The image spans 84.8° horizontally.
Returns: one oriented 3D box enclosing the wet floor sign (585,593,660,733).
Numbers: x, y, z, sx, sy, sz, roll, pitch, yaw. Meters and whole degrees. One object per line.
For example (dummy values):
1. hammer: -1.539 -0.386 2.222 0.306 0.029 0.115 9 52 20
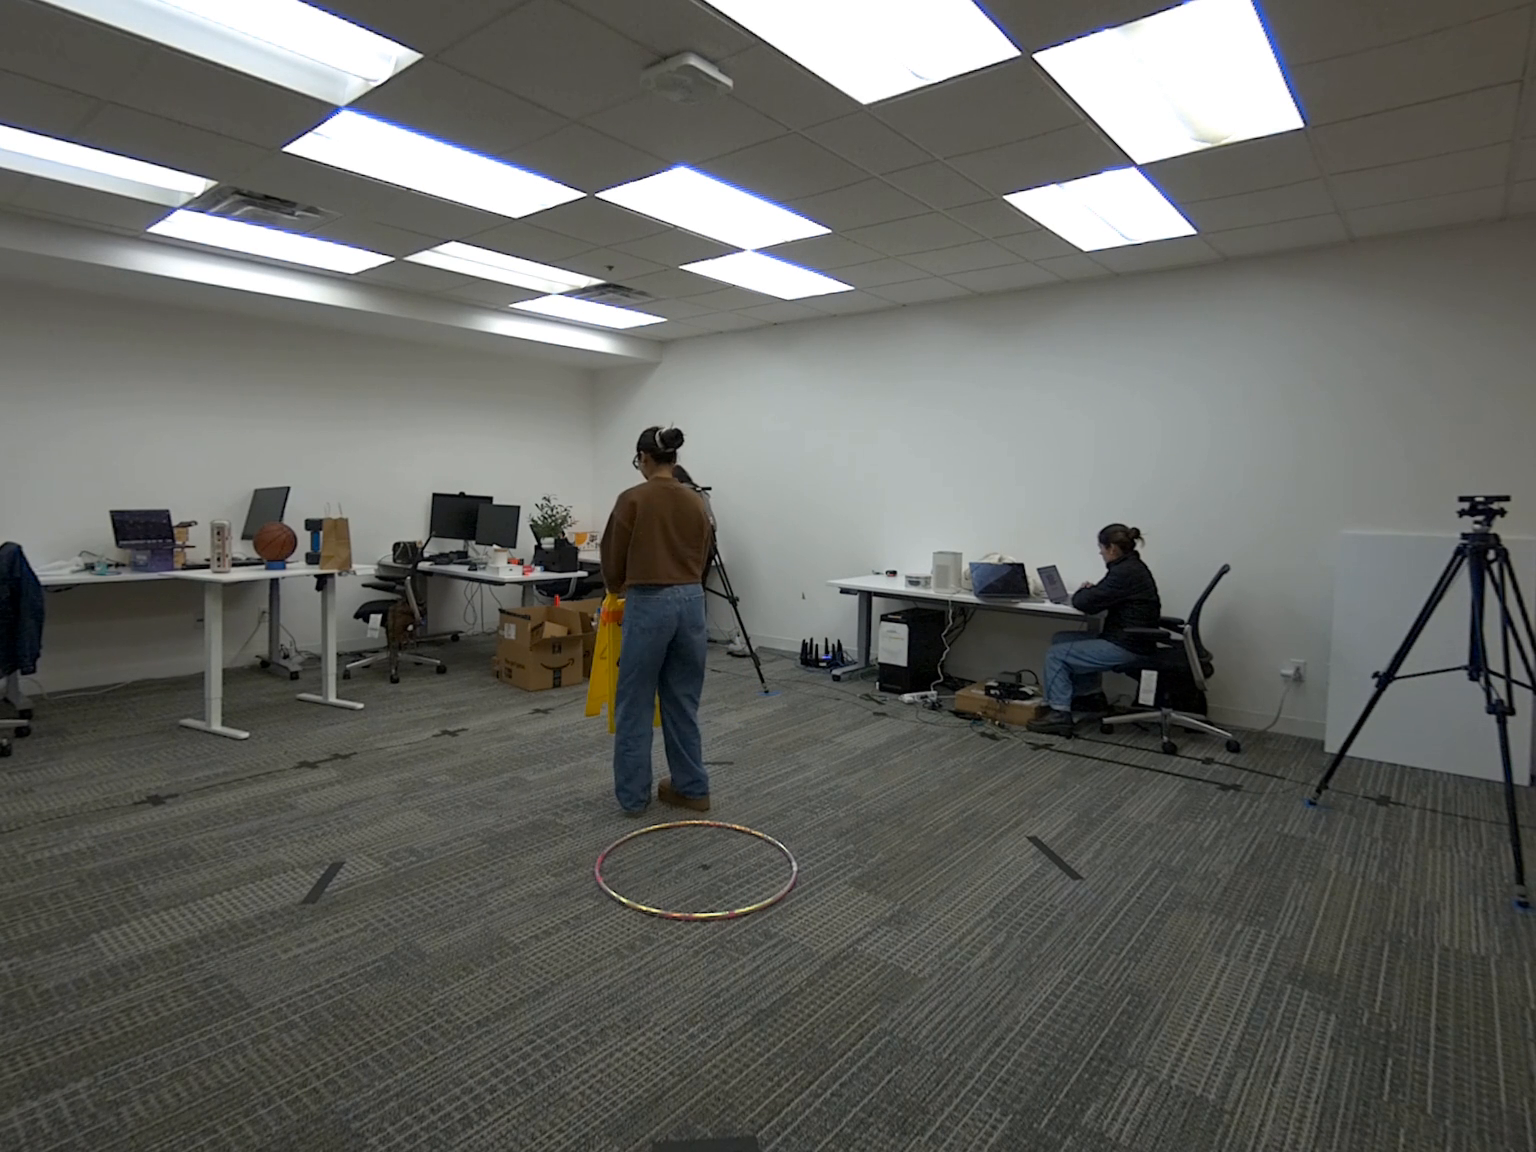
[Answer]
1. wet floor sign: -0.657 0.345 3.881 0.274 0.643 0.299 -1 6 -34
